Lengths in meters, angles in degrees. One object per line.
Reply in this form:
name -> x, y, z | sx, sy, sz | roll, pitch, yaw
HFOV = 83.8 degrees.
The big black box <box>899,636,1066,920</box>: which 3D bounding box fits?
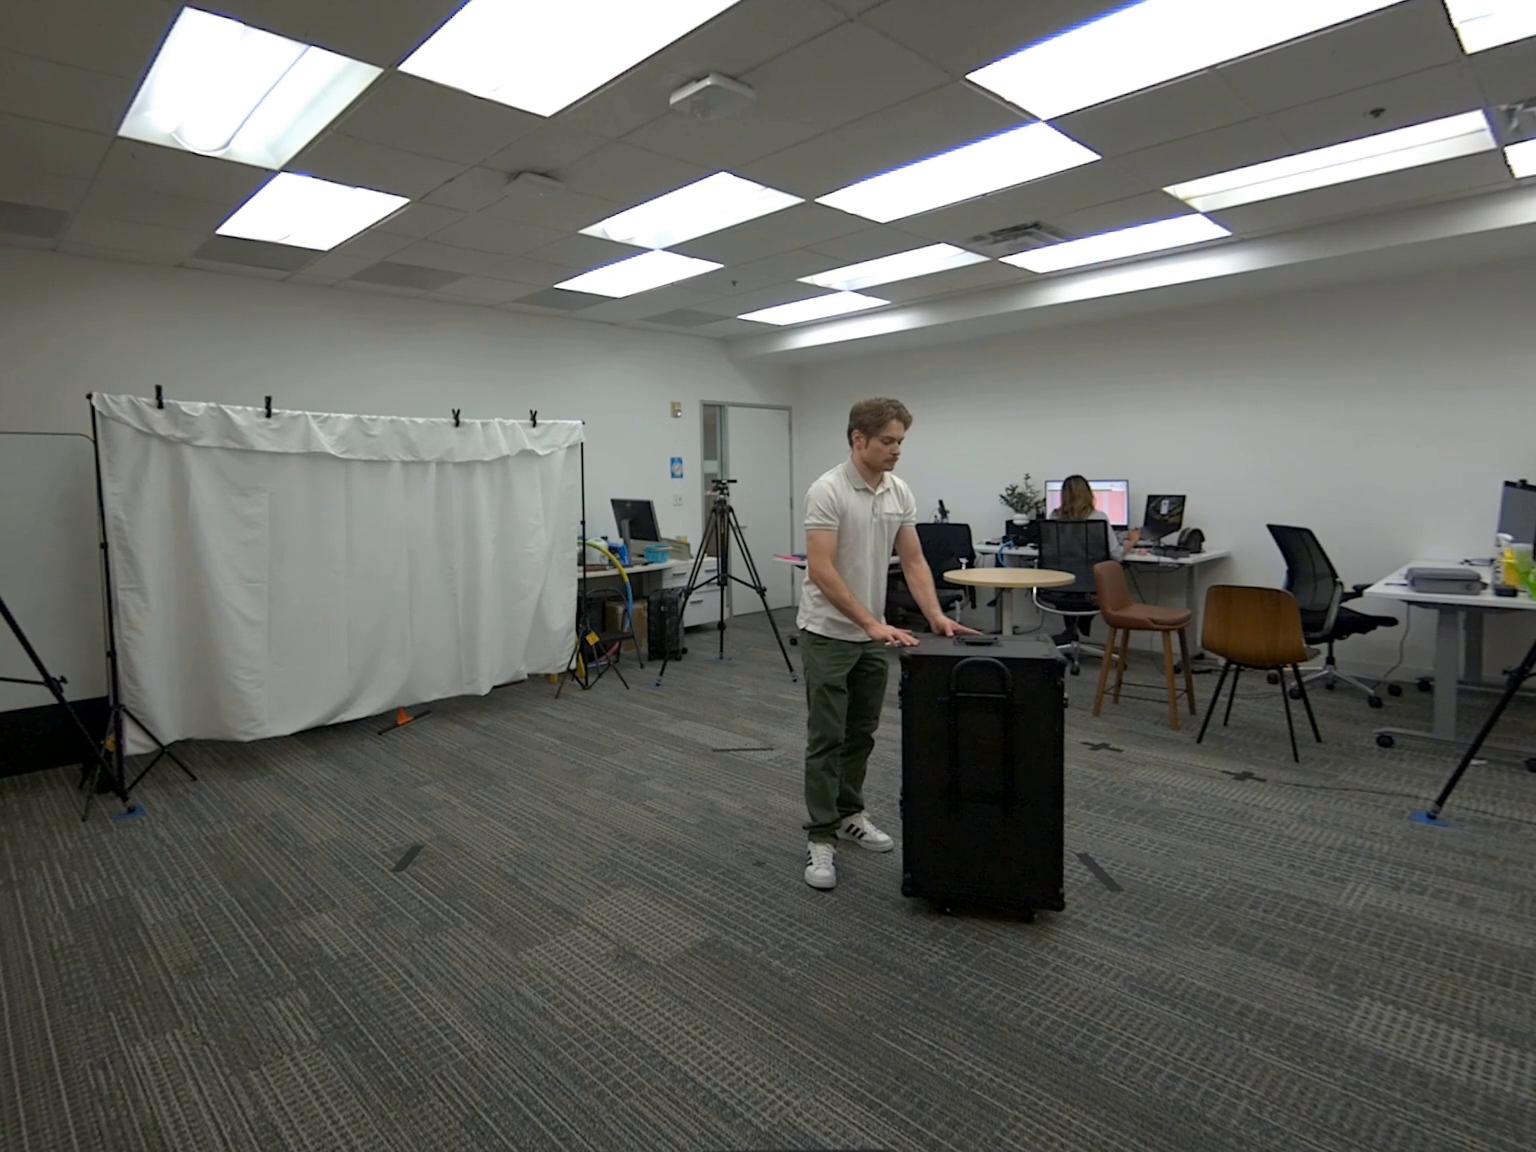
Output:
big black box -> 0.693, 0.644, 2.785 | 0.530, 0.865, 0.382 | -1, 5, 12
